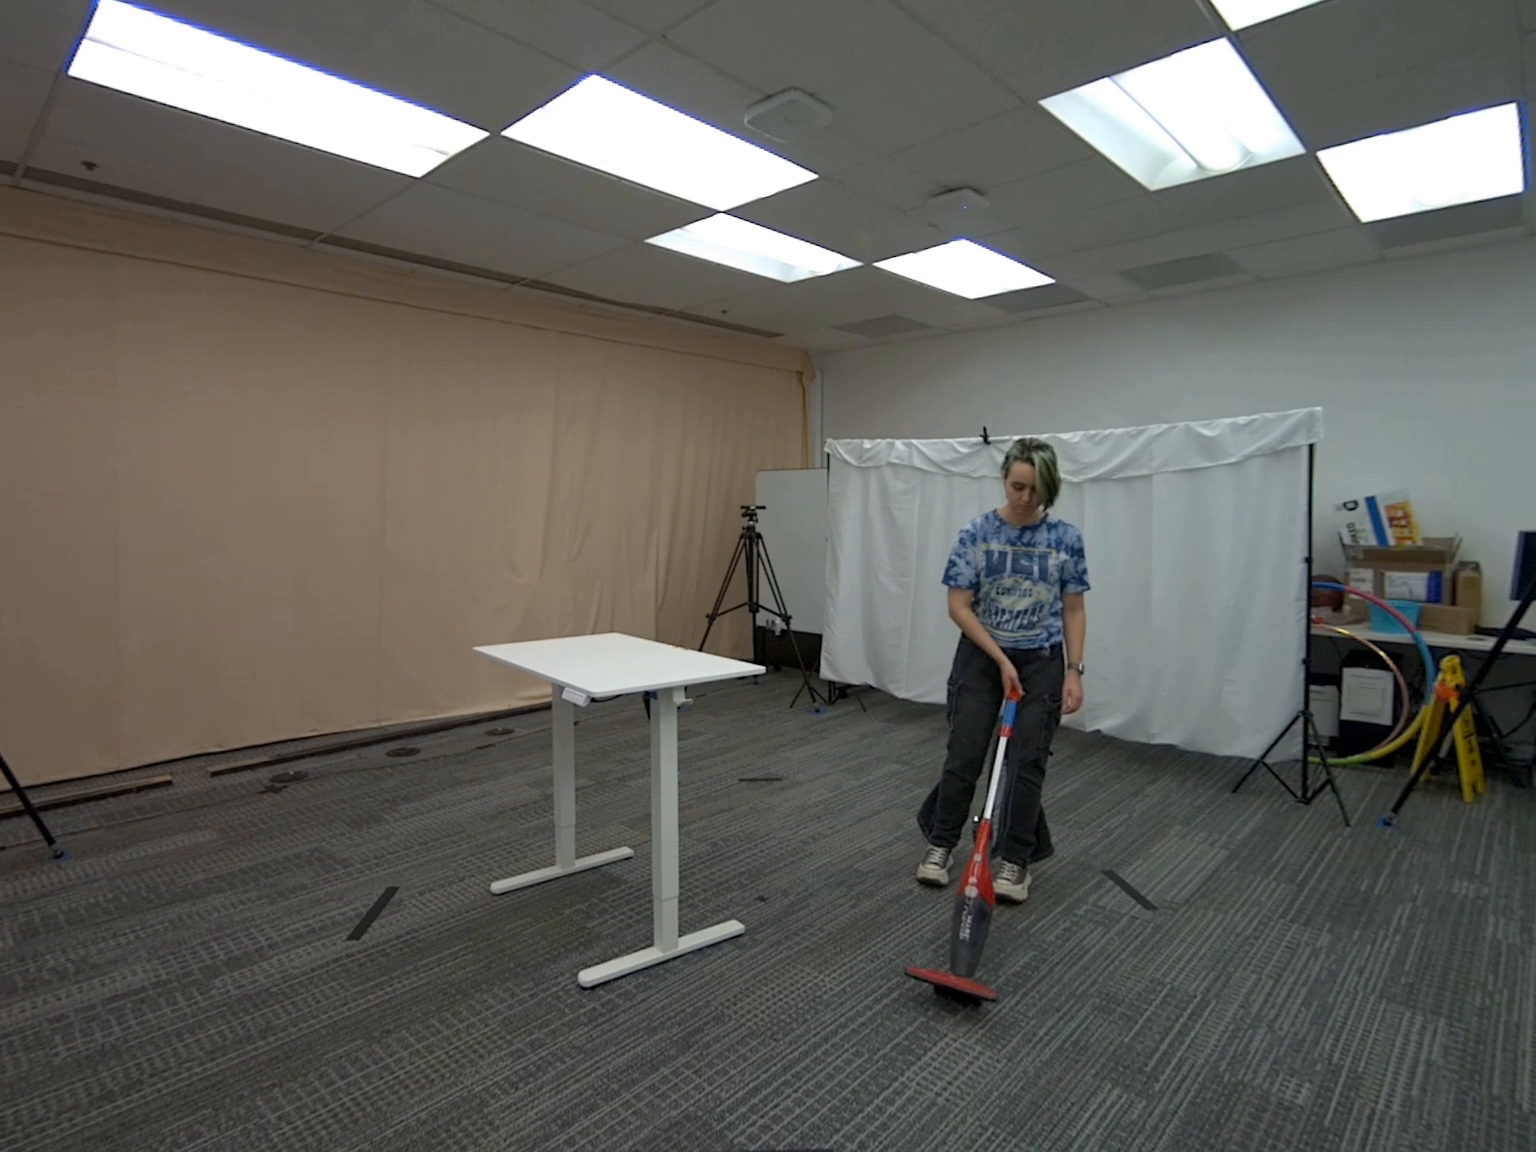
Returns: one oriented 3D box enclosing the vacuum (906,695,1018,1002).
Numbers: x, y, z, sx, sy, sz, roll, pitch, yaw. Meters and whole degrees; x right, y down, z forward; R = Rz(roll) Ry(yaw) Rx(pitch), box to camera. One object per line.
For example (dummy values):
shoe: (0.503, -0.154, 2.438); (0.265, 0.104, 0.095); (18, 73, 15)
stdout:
vacuum: (0.701, 0.794, 2.630); (0.260, 0.140, 1.050); (4, 48, 28)
